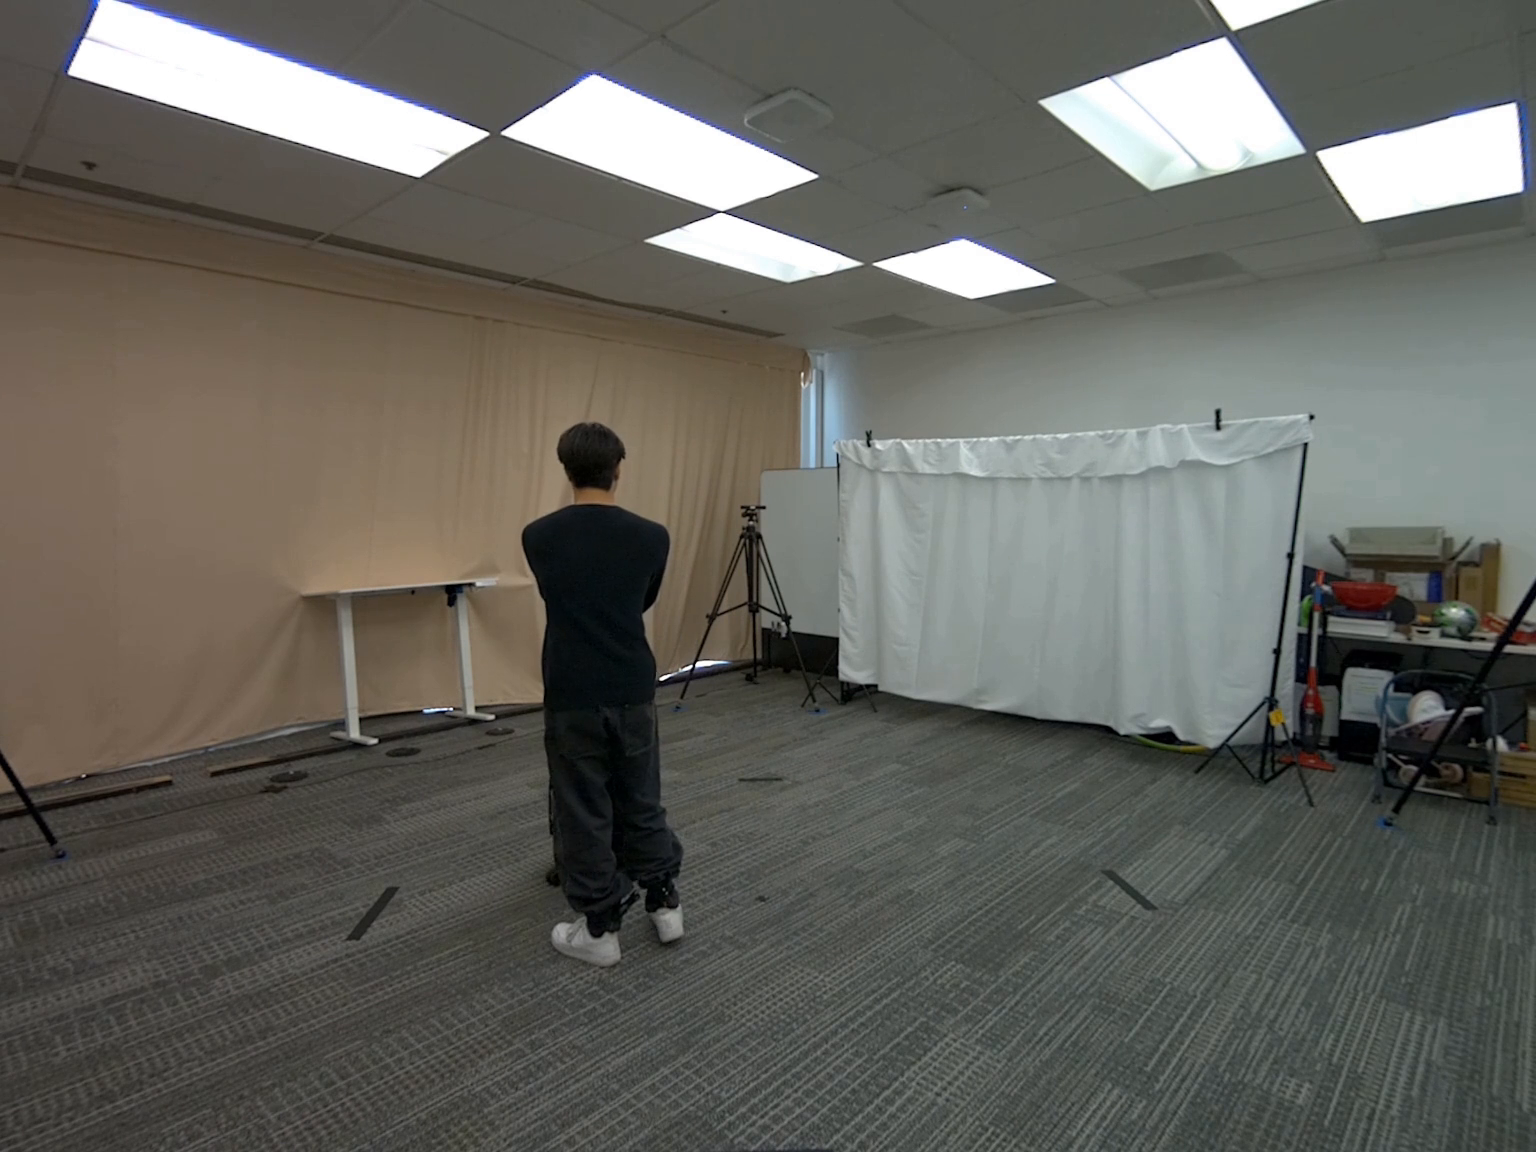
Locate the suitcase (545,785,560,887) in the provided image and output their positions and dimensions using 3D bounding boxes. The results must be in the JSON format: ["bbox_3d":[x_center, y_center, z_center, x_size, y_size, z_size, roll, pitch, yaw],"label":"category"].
[{"bbox_3d":[-0.651,0.653,3.230,0.382,0.979,0.258,1,0,-4],"label":"suitcase"}]
